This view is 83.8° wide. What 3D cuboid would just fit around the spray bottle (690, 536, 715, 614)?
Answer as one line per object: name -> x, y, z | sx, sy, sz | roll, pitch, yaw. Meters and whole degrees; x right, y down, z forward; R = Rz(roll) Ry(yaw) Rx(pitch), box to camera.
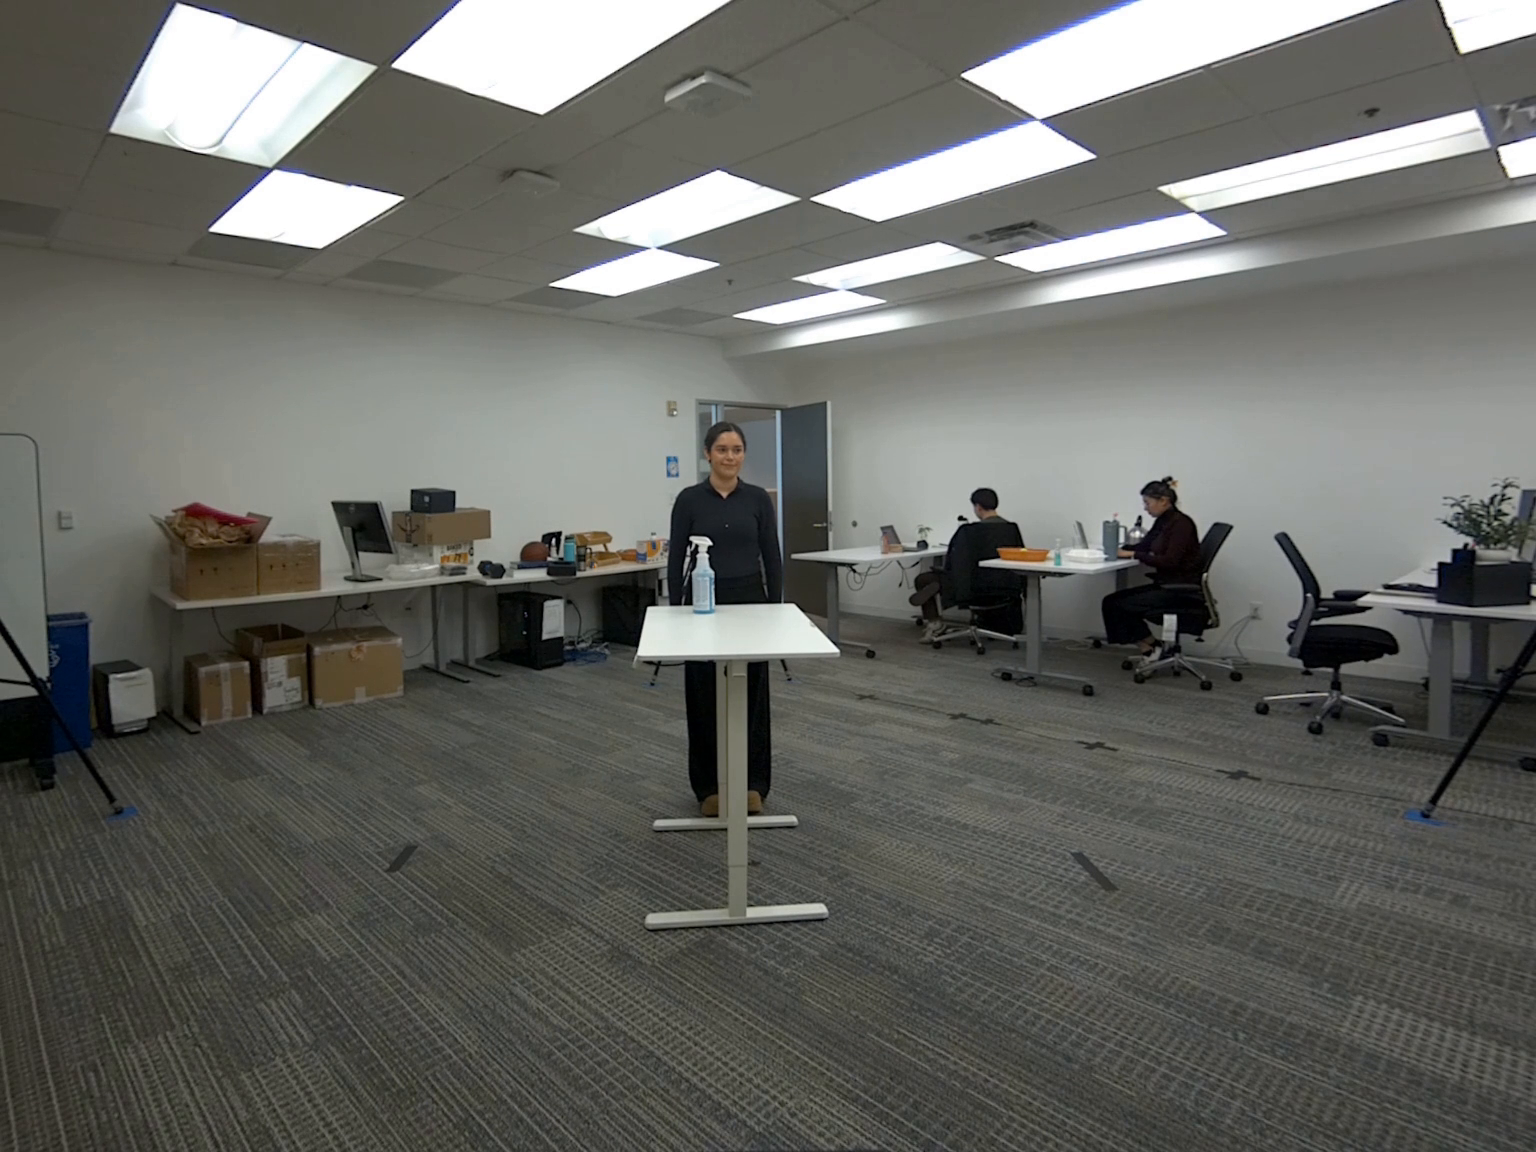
spray bottle -> -0.249, -0.001, 3.324 | 0.084, 0.297, 0.092 | -3, 2, -44
